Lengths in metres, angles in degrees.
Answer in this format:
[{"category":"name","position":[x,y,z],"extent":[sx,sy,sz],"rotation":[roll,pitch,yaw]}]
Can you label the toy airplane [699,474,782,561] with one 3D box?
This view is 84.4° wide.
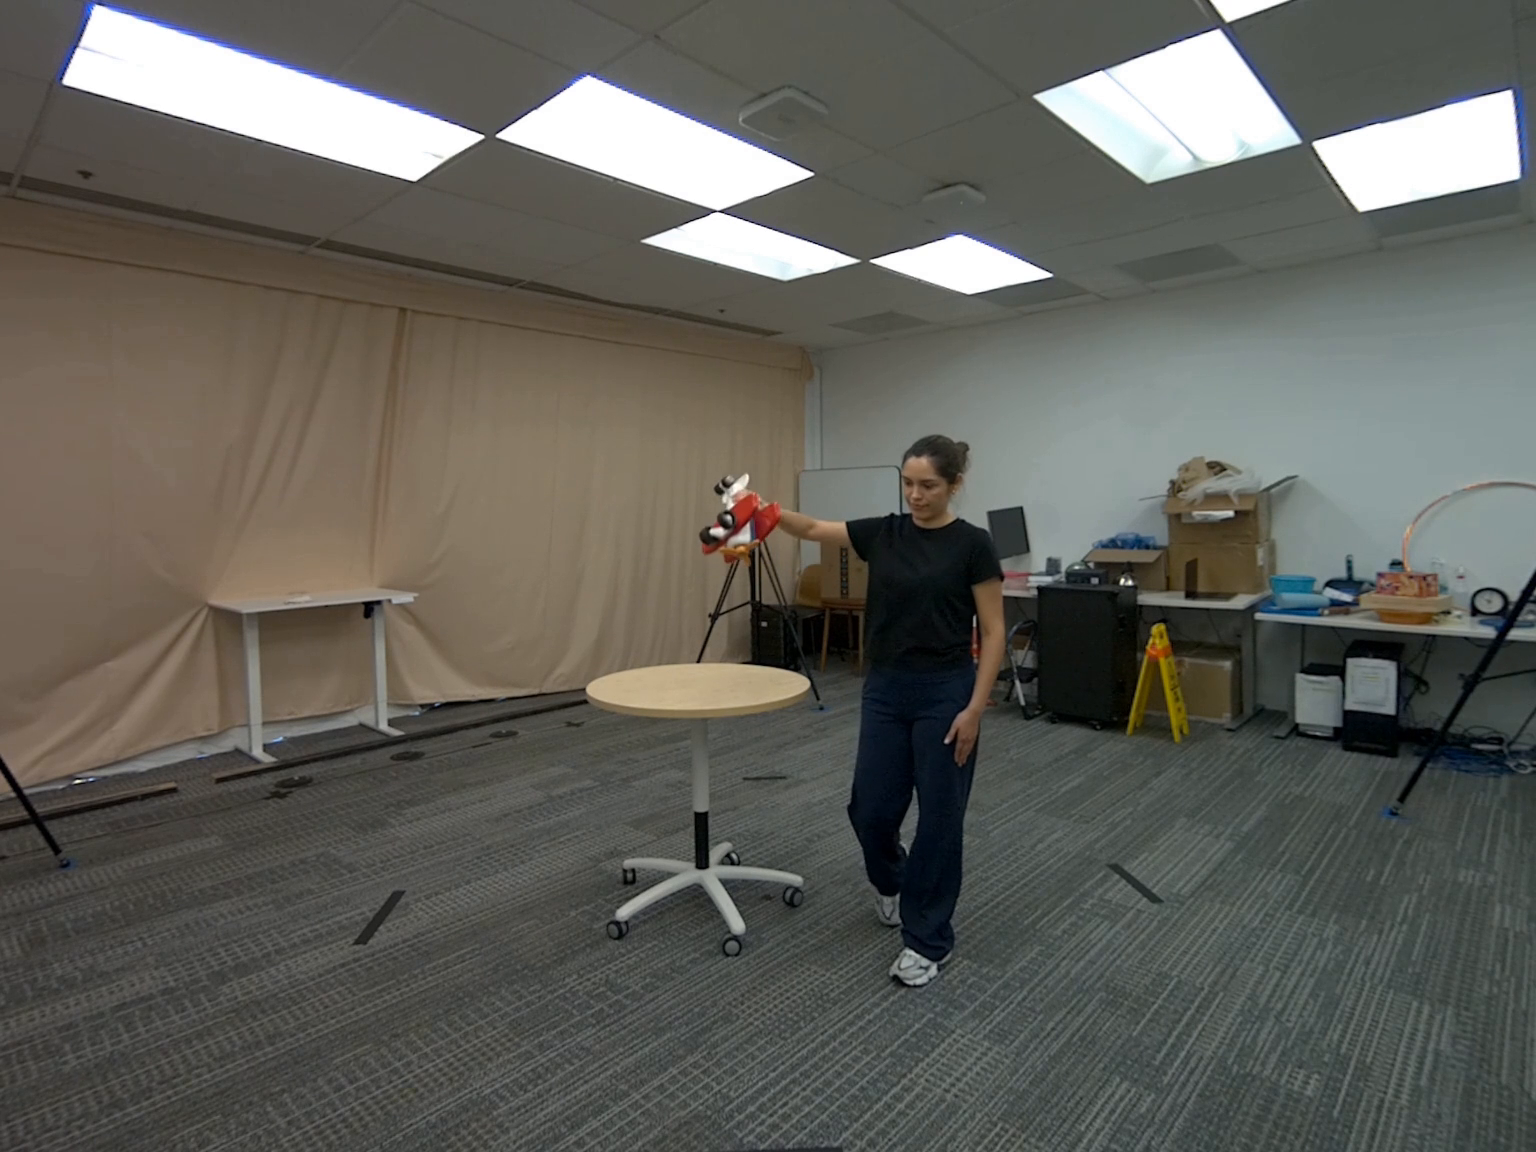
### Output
[{"category":"toy airplane","position":[-0.048,-0.168,2.406],"extent":[0.153,0.260,0.256],"rotation":[32,-22,-22]}]
